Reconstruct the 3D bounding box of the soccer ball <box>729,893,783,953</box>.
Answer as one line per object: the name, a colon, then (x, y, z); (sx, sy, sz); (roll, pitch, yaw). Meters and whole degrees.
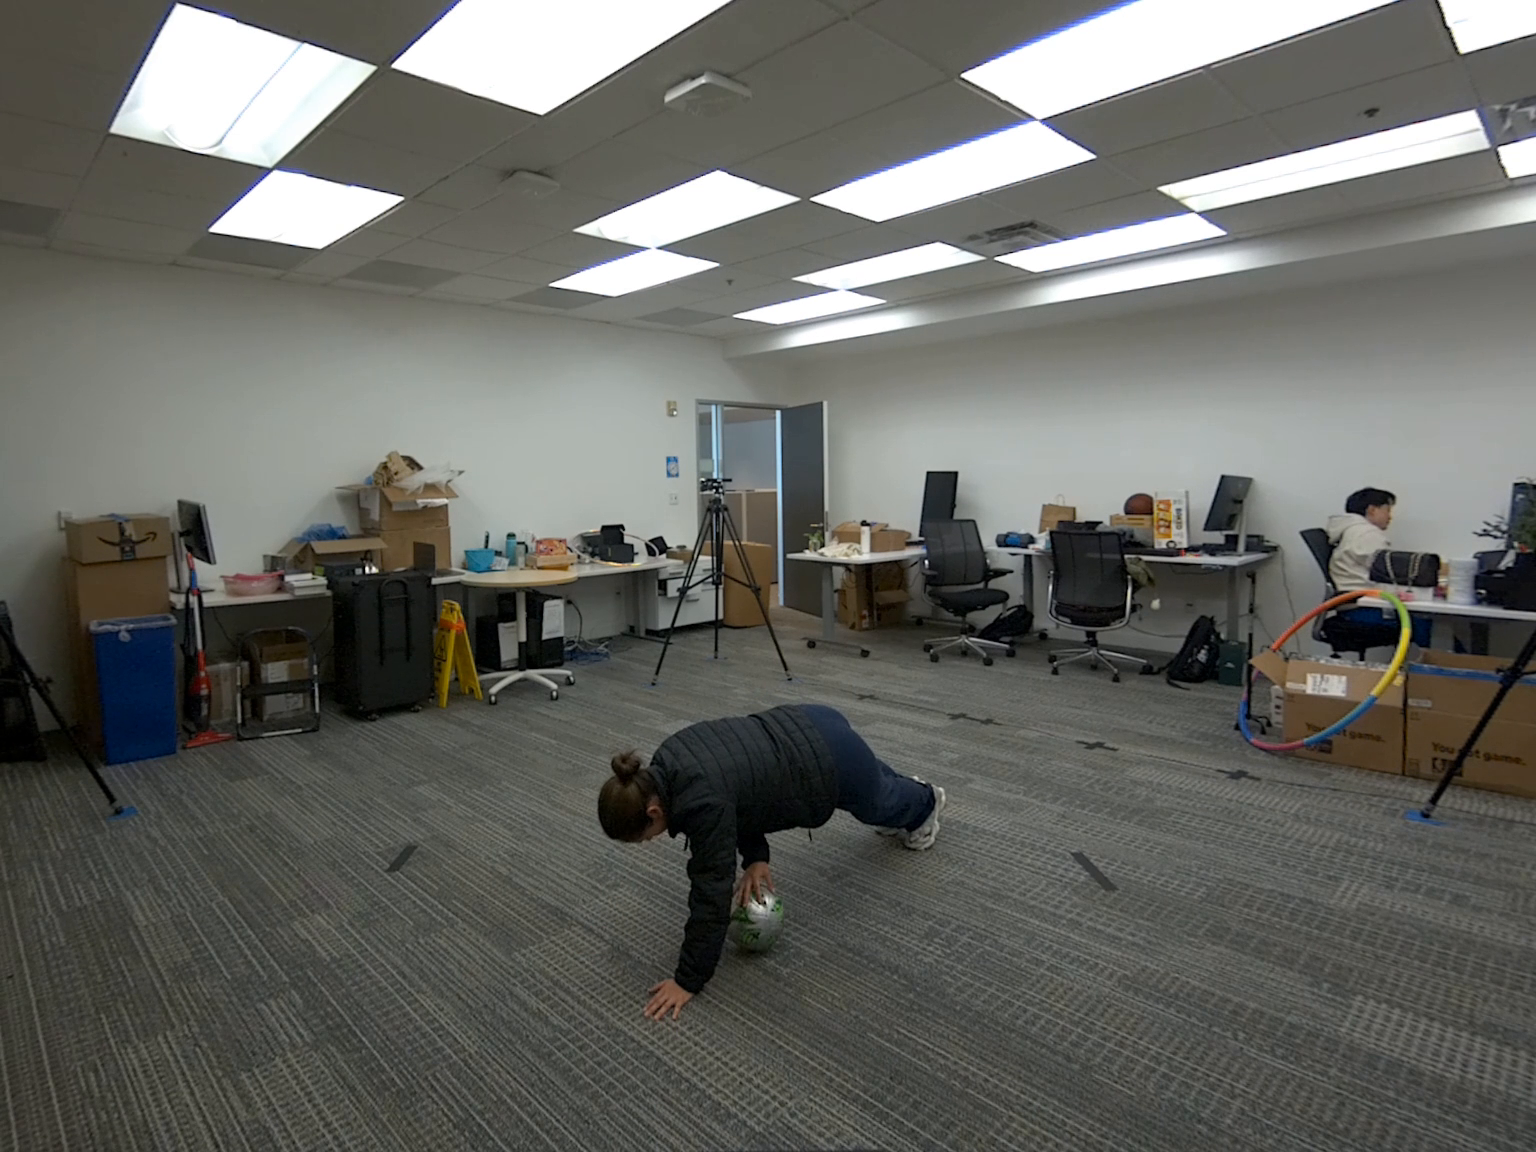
soccer ball: (-0.039, 1.020, 2.549); (0.187, 0.187, 0.188); (-1, 5, -2)
